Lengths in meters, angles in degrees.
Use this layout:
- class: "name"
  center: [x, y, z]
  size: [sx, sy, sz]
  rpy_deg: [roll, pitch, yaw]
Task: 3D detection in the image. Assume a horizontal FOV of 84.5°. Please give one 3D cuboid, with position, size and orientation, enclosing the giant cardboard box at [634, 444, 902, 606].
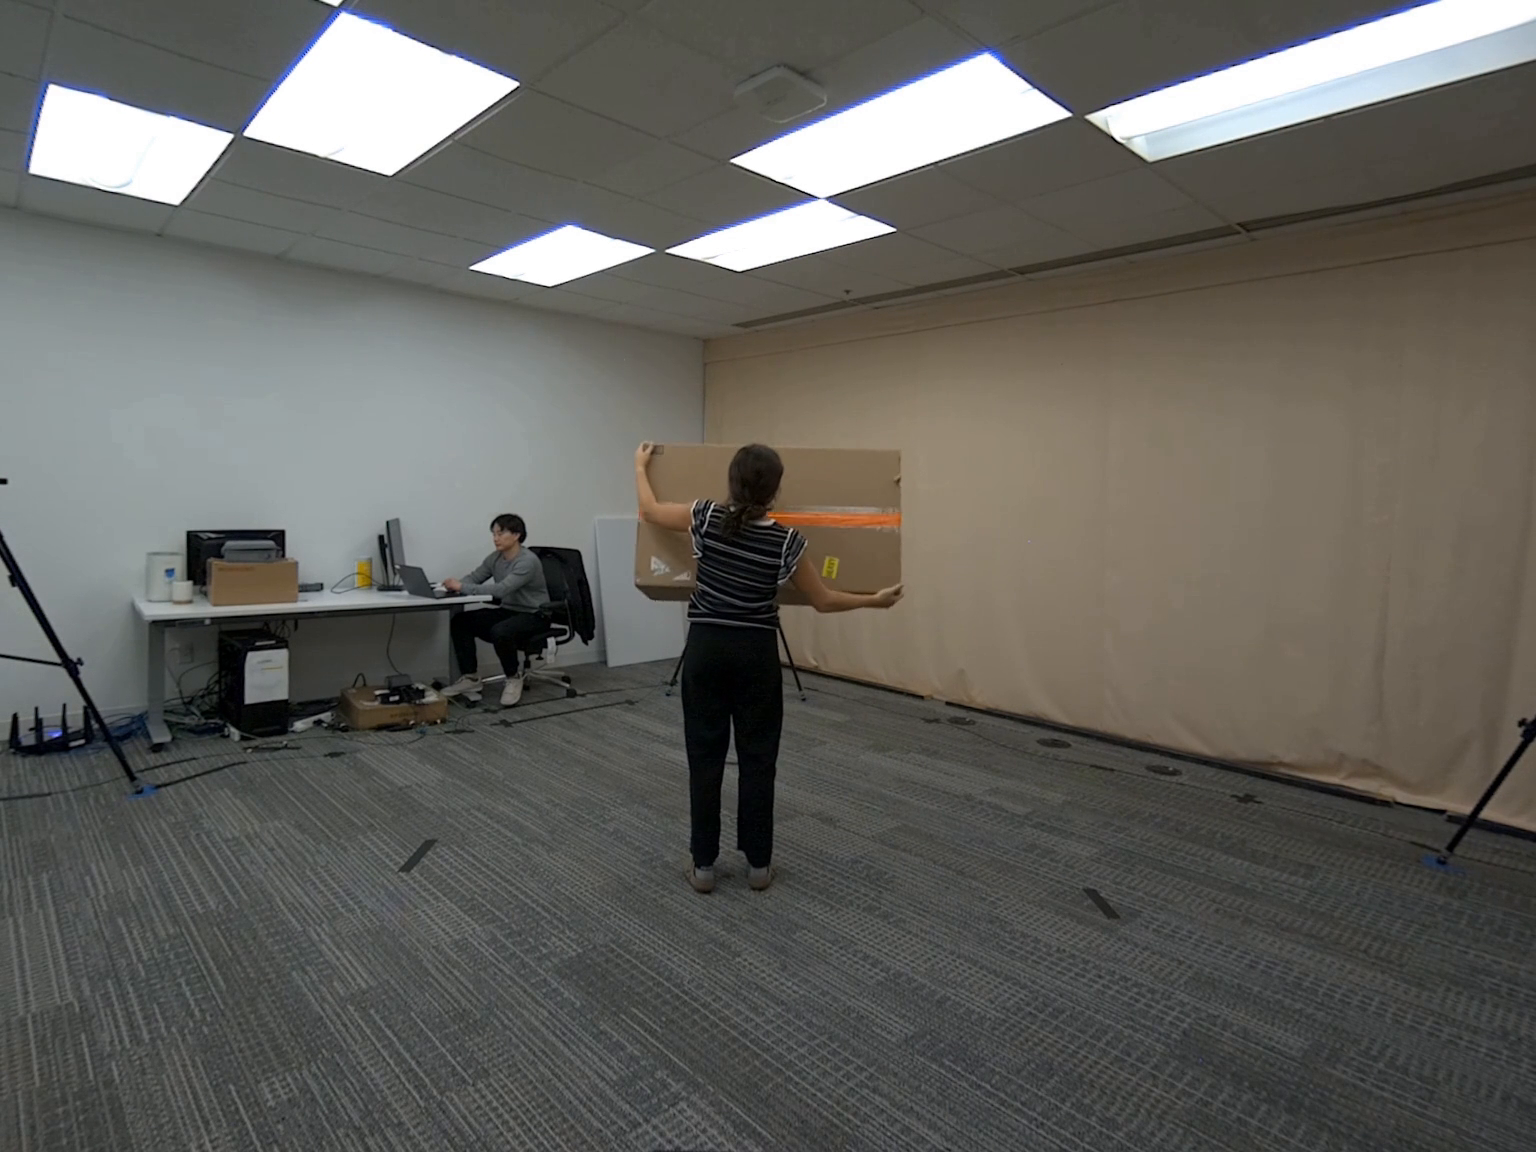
- class: "giant cardboard box"
  center: [0.001, -0.207, 3.460]
  size: [1.029, 0.582, 0.421]
  rpy_deg: [1, -11, 4]
